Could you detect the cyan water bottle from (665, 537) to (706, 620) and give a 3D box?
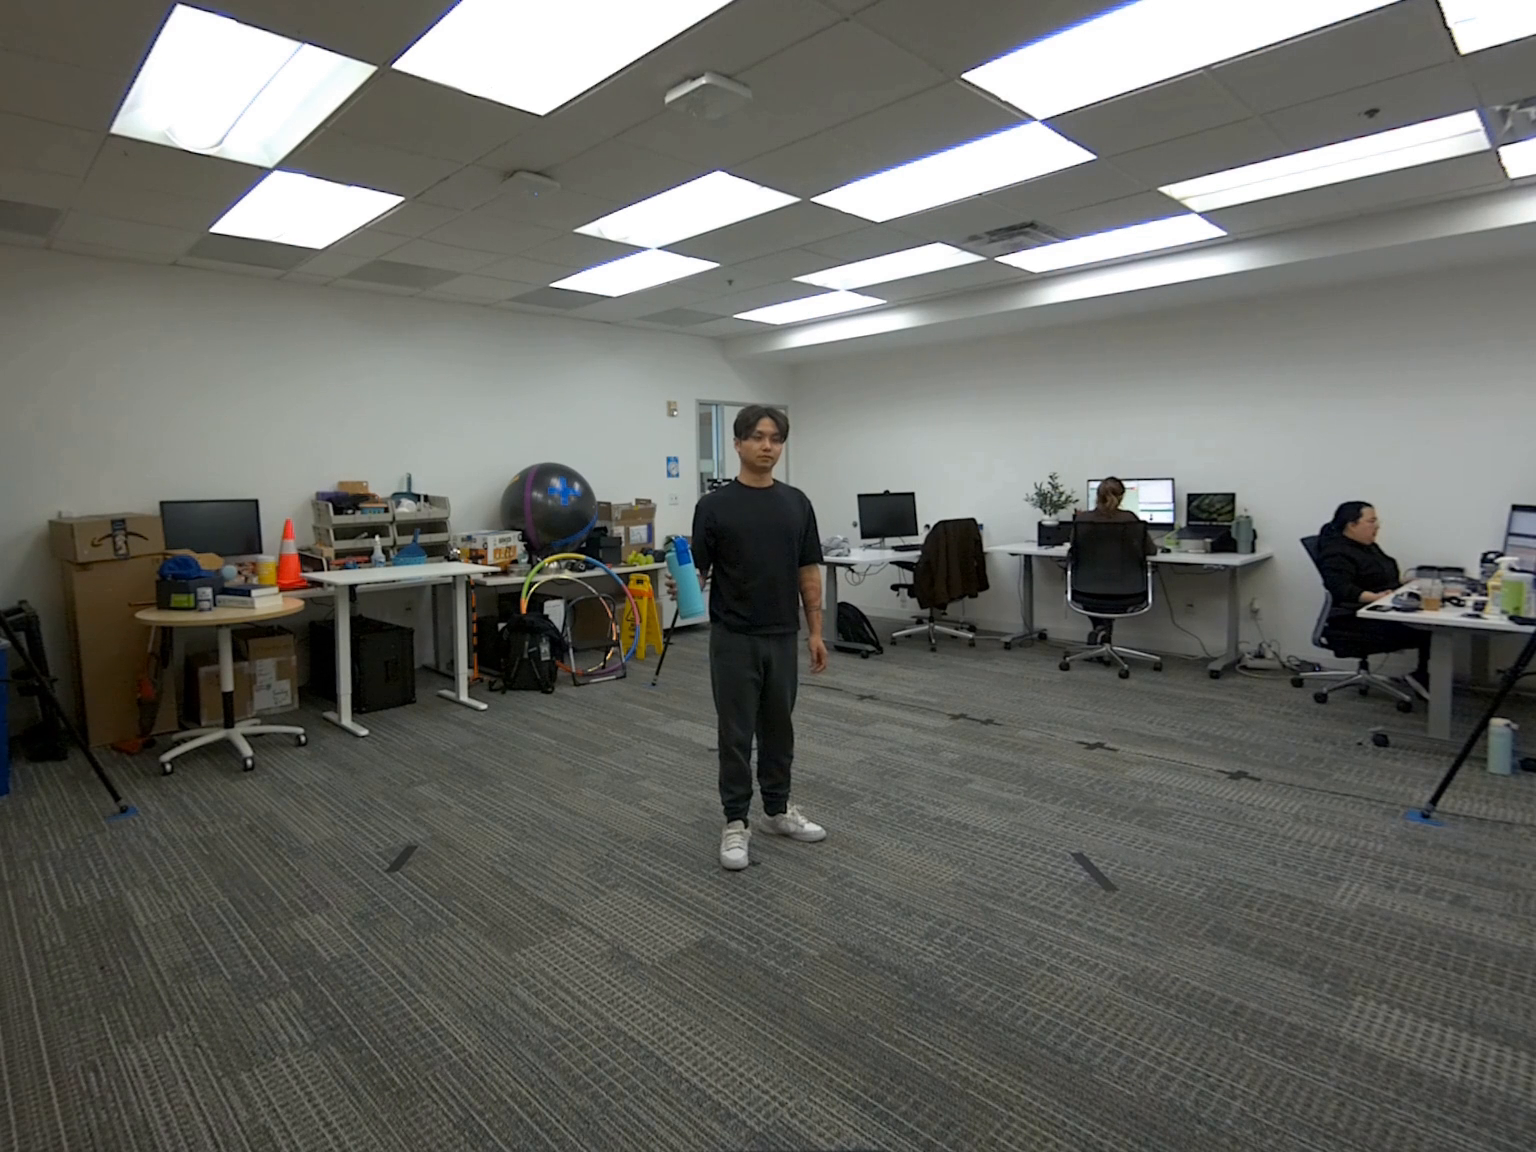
[{"bbox_3d":[-0.281,-0.001,2.853,0.092,0.284,0.092,-12,-1,-2],"label":"cyan water bottle"}]
